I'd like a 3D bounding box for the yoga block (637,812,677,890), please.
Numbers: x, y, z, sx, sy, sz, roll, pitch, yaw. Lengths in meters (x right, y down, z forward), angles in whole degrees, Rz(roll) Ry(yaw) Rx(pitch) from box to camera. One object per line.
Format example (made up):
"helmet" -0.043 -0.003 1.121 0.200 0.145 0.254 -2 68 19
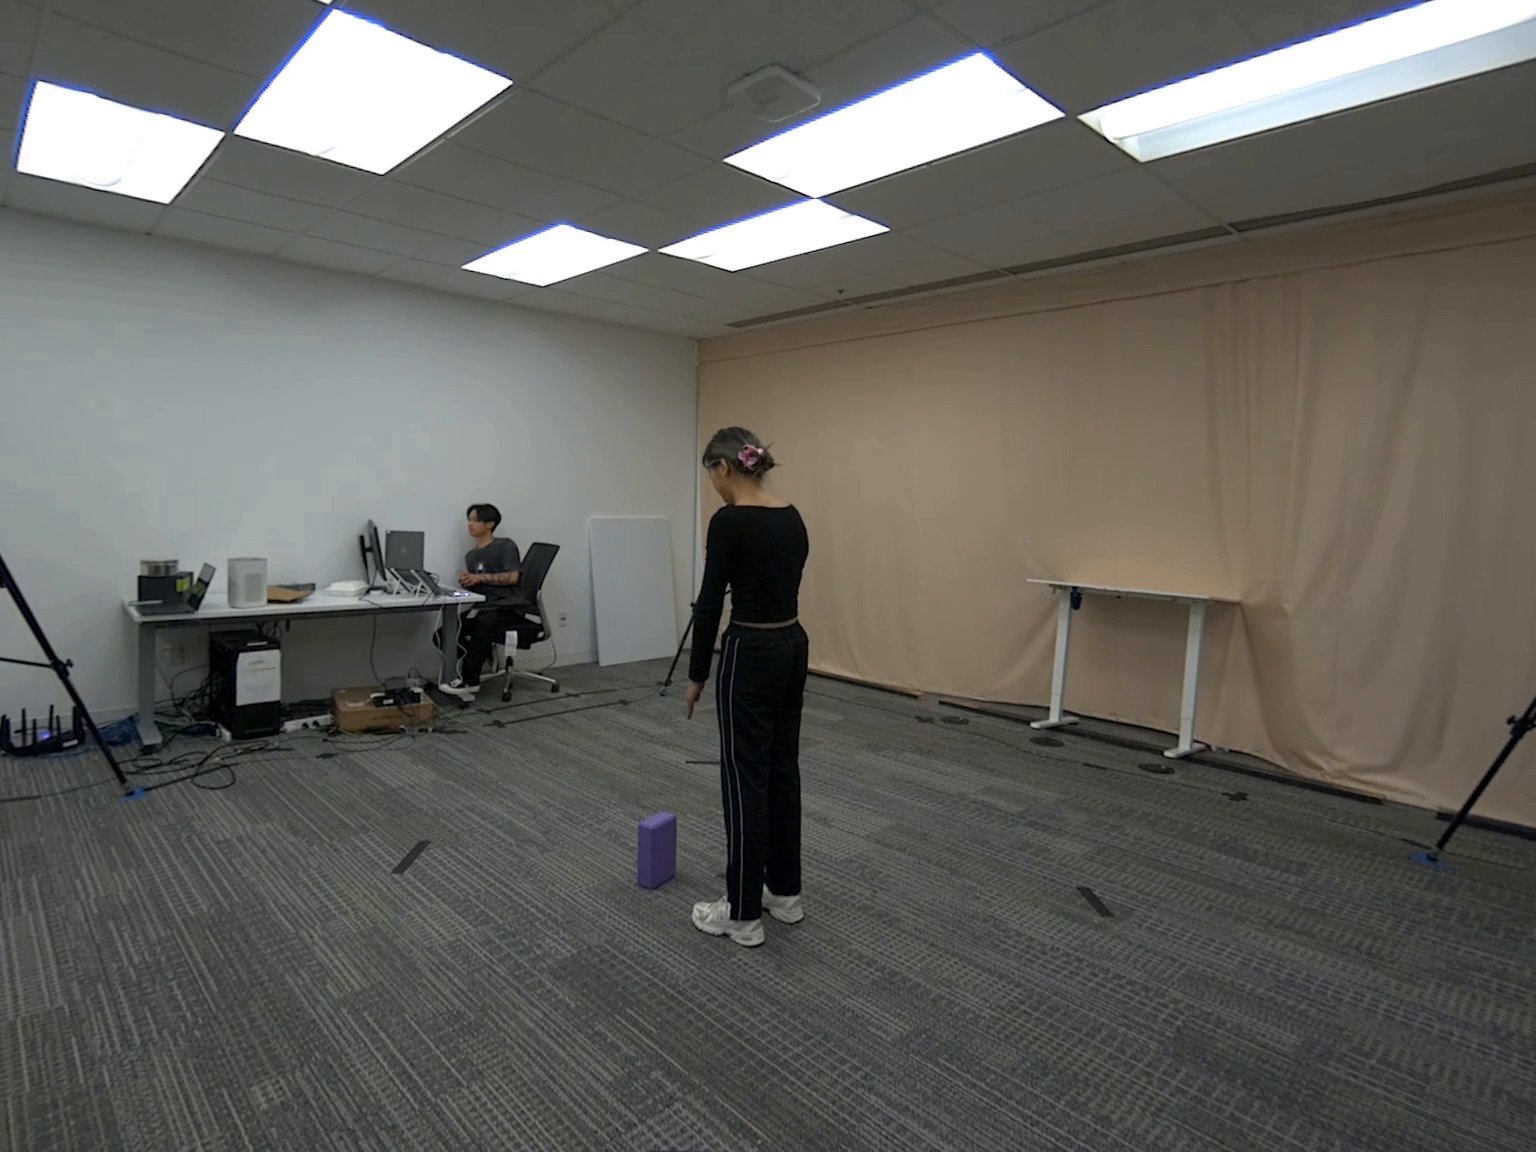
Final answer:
"yoga block" -0.410 0.993 3.043 0.078 0.229 0.146 3 5 30
